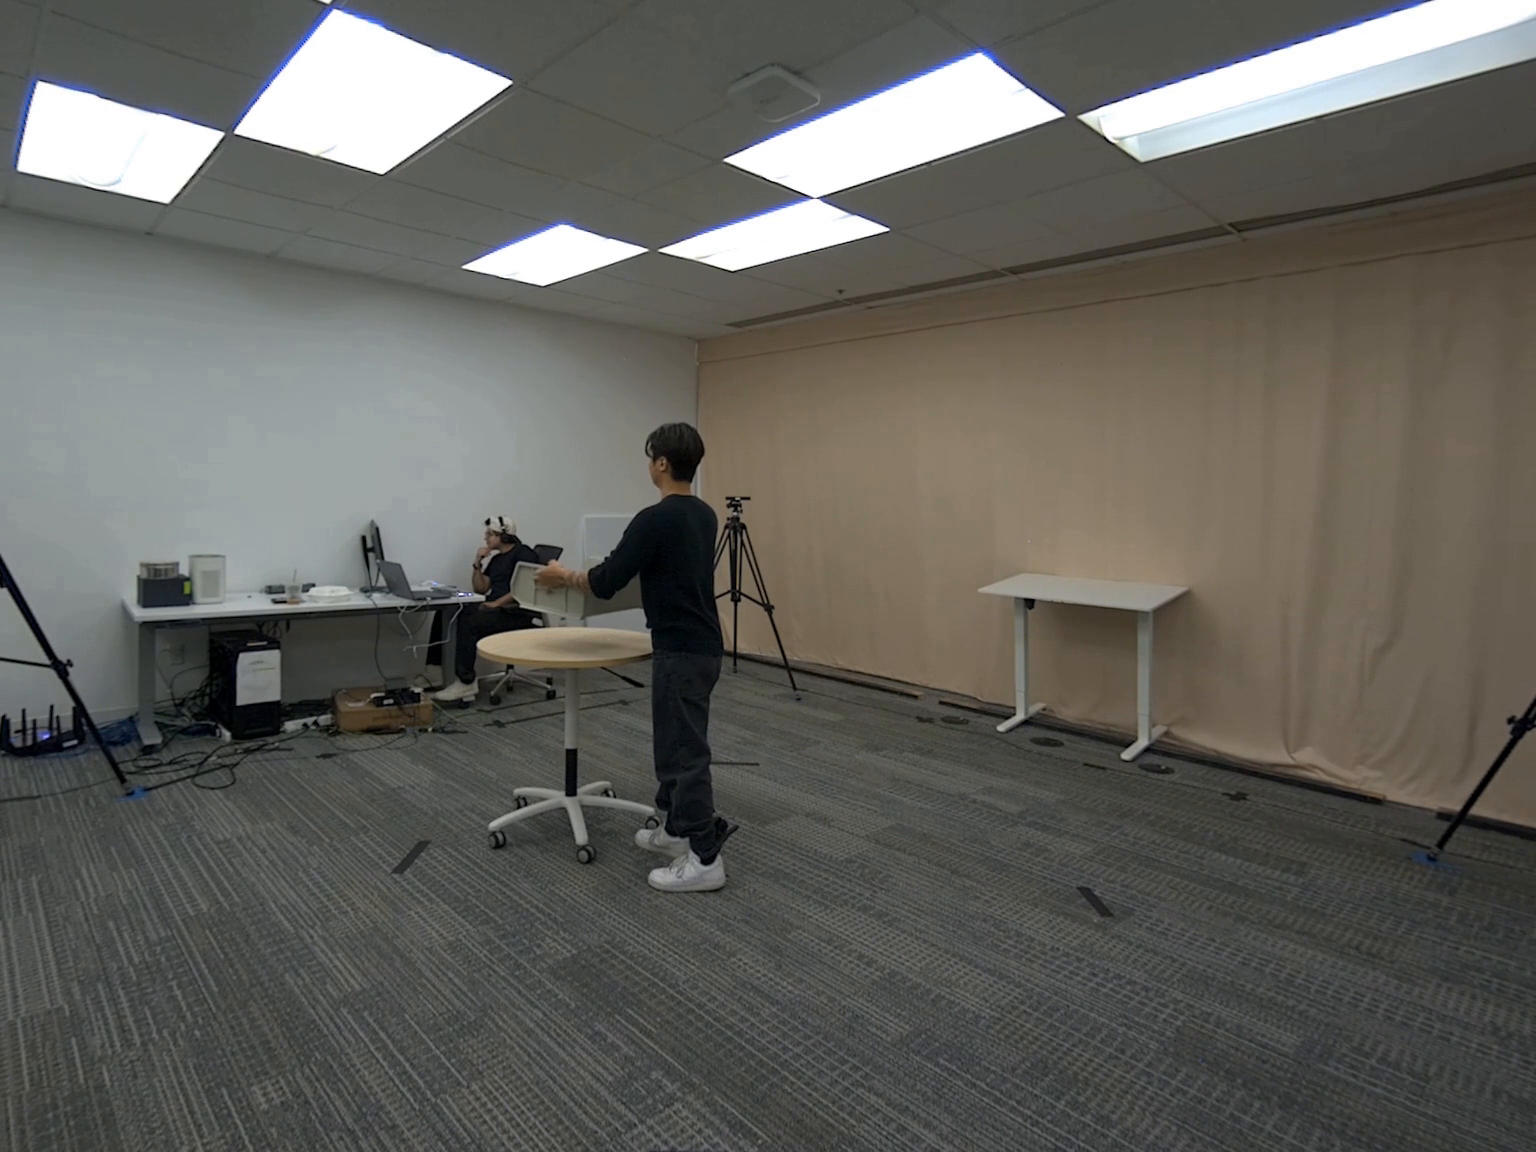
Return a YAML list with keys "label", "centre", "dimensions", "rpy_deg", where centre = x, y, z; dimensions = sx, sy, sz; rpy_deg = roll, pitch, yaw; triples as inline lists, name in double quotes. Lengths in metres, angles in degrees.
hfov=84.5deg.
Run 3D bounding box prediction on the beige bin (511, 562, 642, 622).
- label: "beige bin"
  centre: [-0.751, 0.035, 3.385]
  dimensions: [0.386, 0.188, 0.414]
  rpy_deg: [10, 9, 30]
